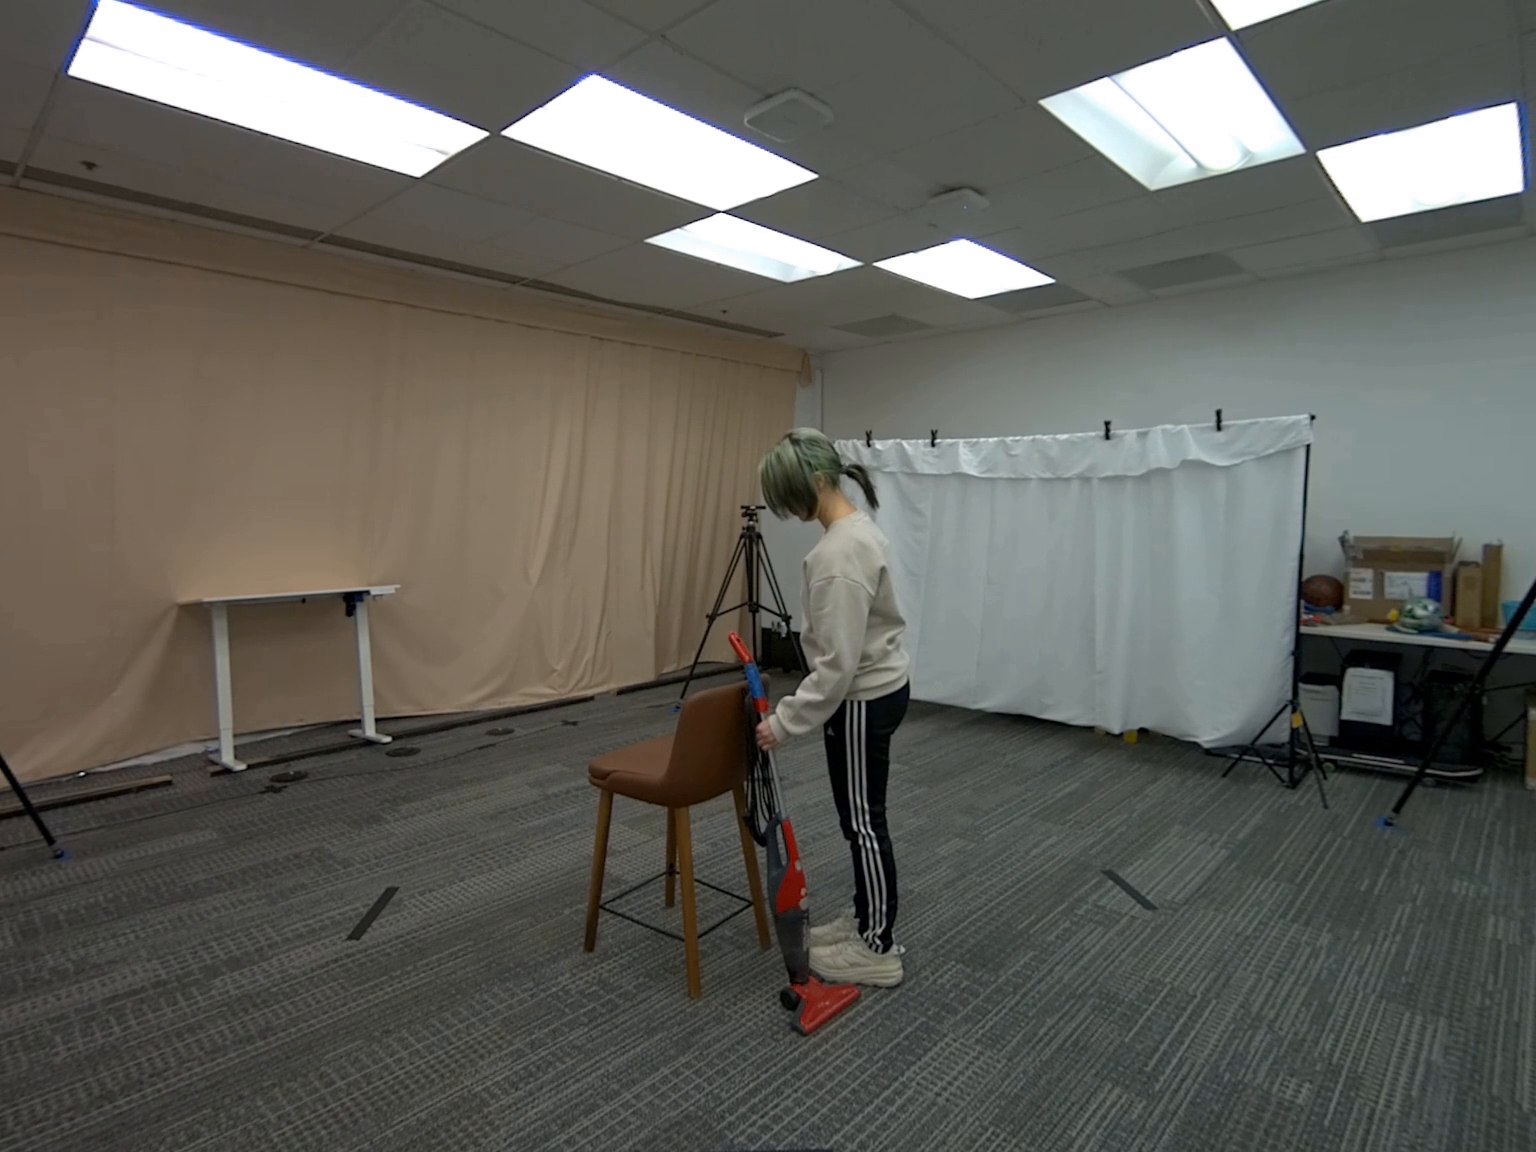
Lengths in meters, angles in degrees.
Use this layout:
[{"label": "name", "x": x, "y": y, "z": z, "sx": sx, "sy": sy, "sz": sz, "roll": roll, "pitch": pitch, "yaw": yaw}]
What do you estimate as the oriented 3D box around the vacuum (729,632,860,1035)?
[{"label": "vacuum", "x": 0.021, "y": 0.697, "z": 2.386, "sx": 0.147, "sy": 1.054, "sz": 0.245, "roll": -16, "pitch": -7, "yaw": 34}]
